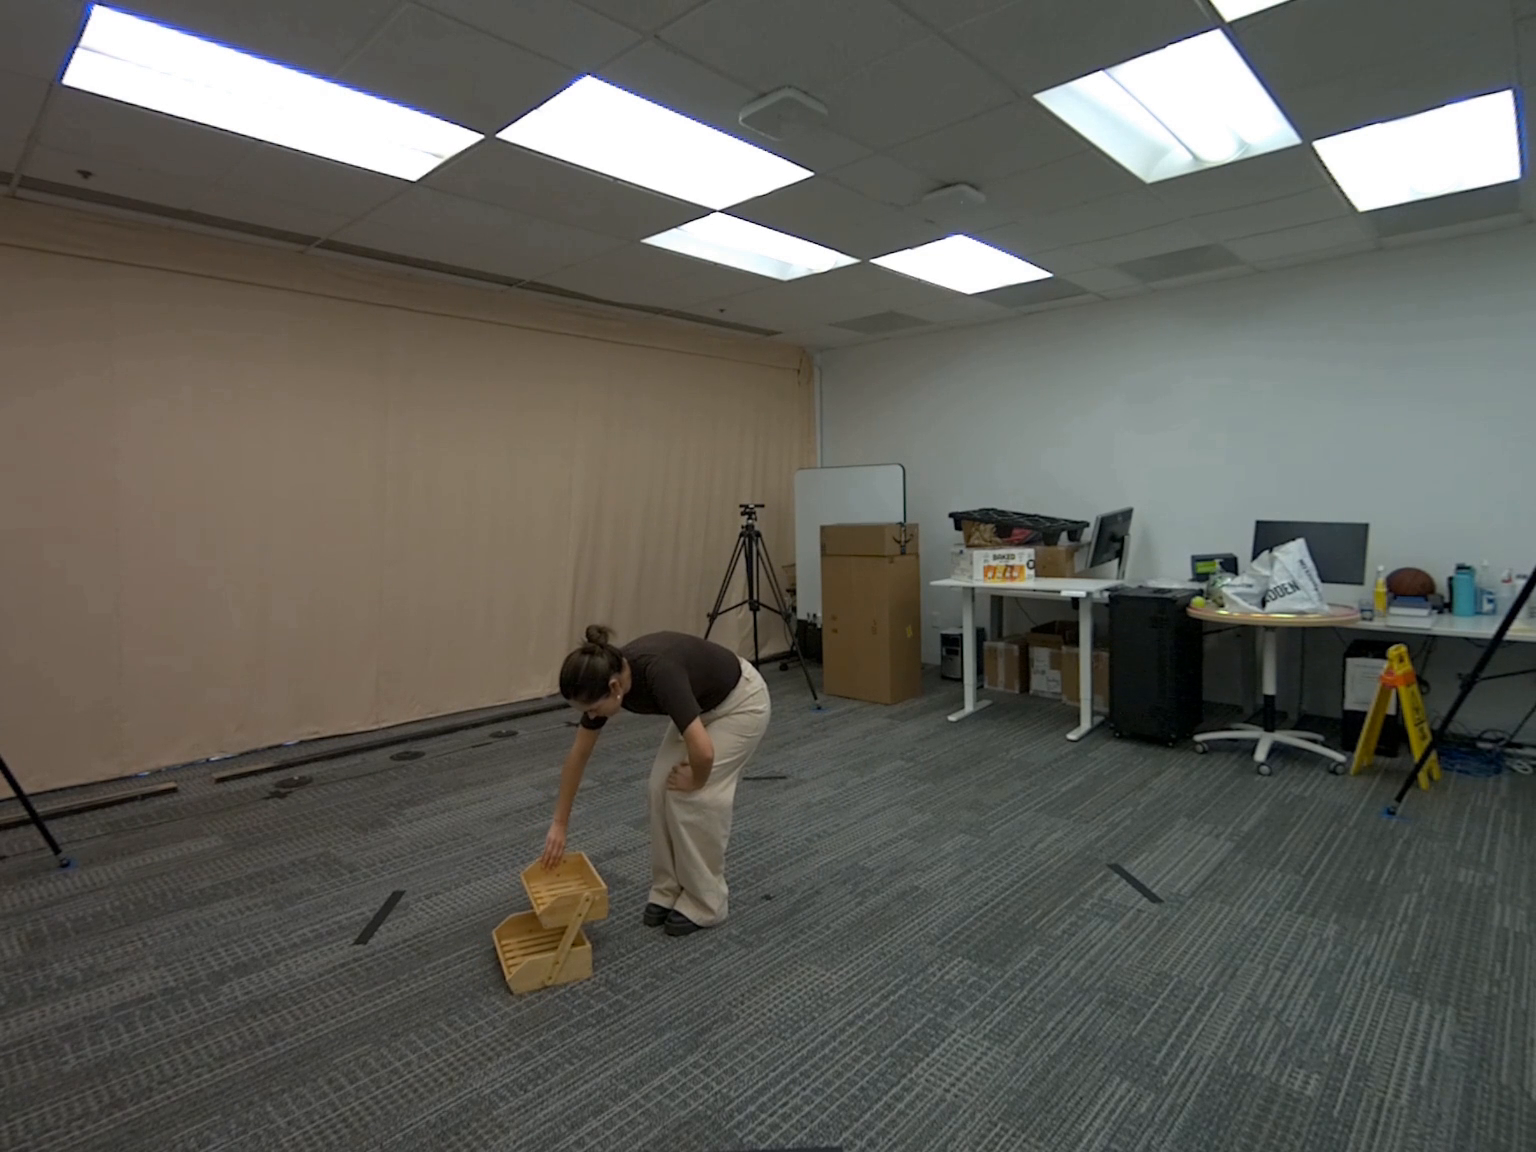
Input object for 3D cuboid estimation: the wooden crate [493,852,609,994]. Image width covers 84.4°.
[{"bbox_3d":[-0.684,1.056,2.594,0.295,0.273,0.333,-2,4,-26],"label":"wooden crate"}]
